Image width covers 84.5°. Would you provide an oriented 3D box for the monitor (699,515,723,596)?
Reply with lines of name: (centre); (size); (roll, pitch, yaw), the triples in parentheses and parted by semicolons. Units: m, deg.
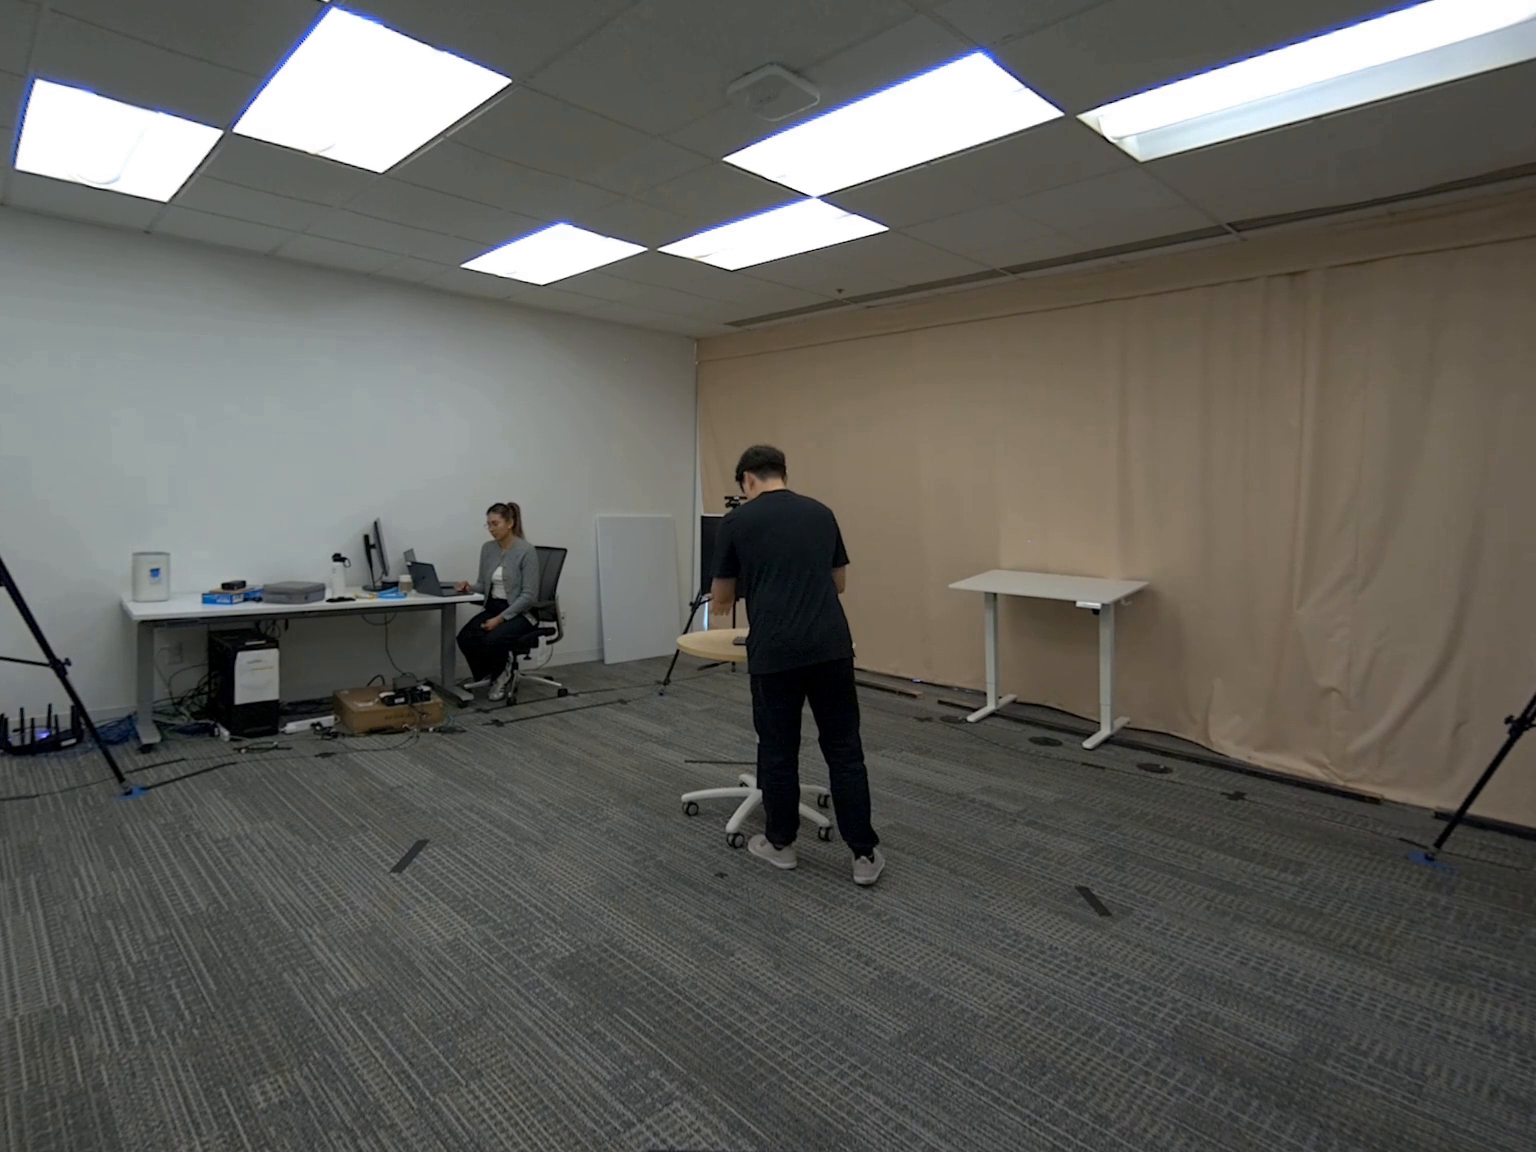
monitor: (-0.019, 0.025, 3.562); (0.540, 0.522, 0.187); (2, 1, 3)
